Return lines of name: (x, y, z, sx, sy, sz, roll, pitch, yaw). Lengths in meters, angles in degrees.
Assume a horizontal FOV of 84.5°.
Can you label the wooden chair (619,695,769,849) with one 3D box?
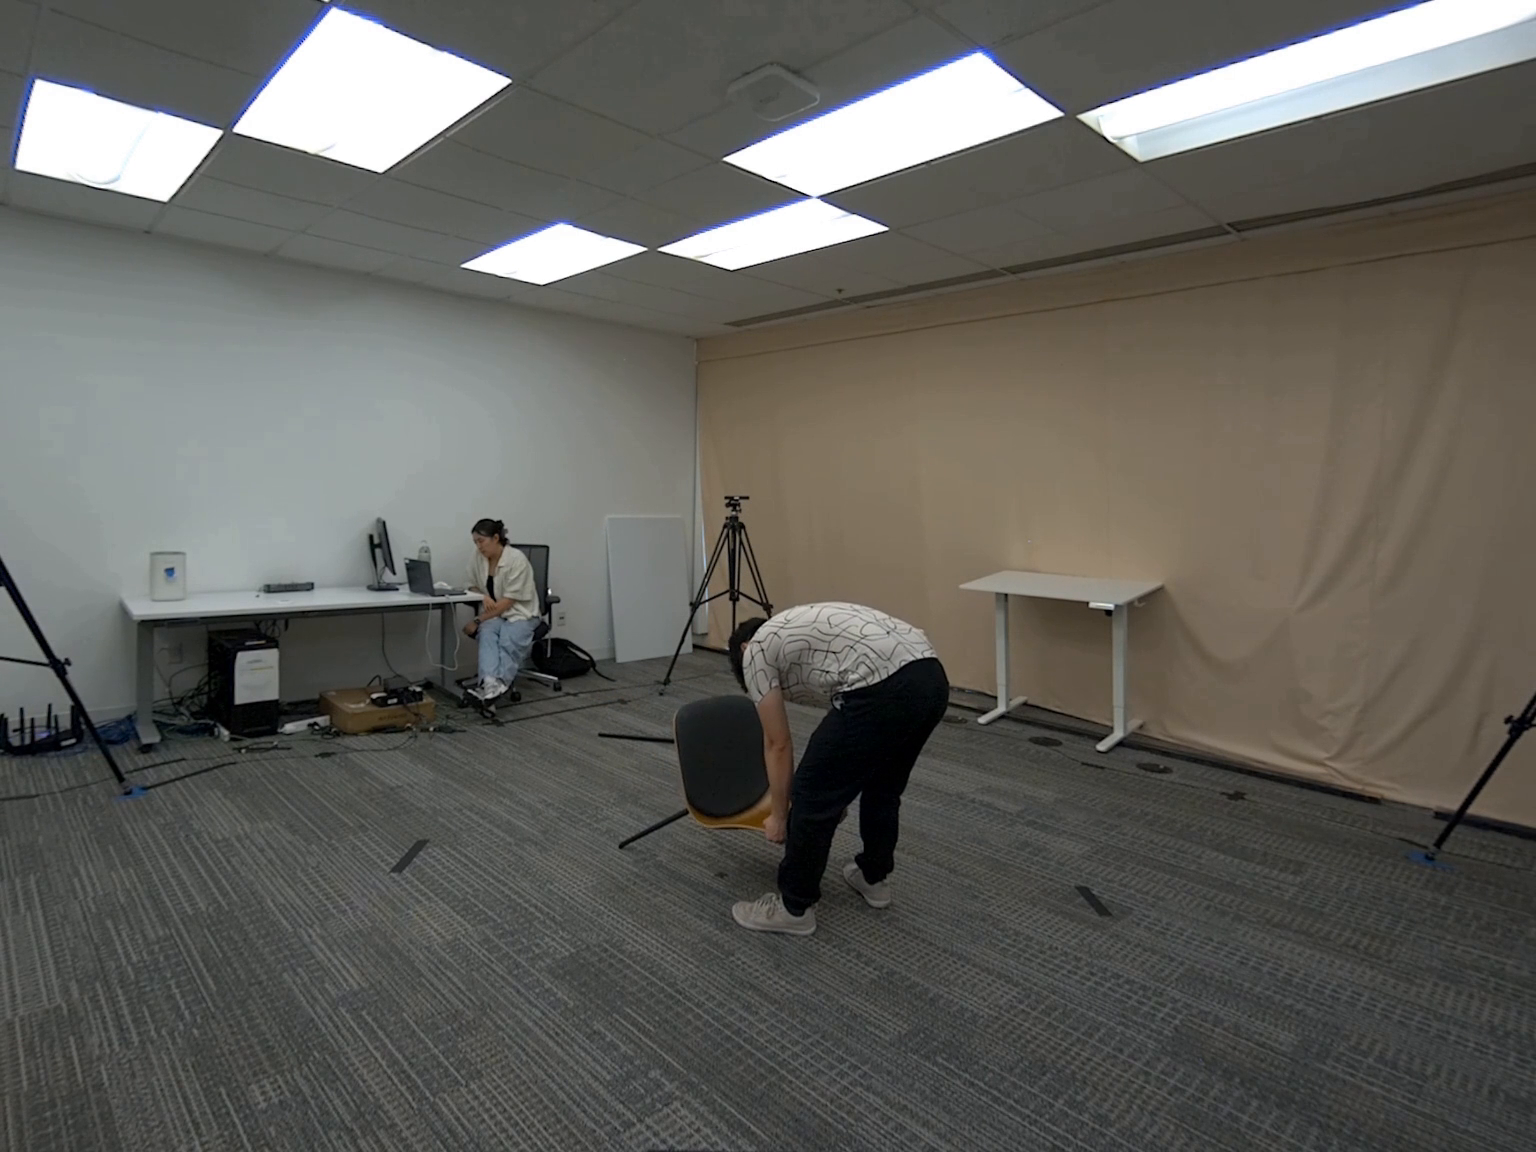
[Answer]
wooden chair: (-0.179, 0.728, 3.214, 0.467, 0.526, 0.892, -1, -9, -45)
